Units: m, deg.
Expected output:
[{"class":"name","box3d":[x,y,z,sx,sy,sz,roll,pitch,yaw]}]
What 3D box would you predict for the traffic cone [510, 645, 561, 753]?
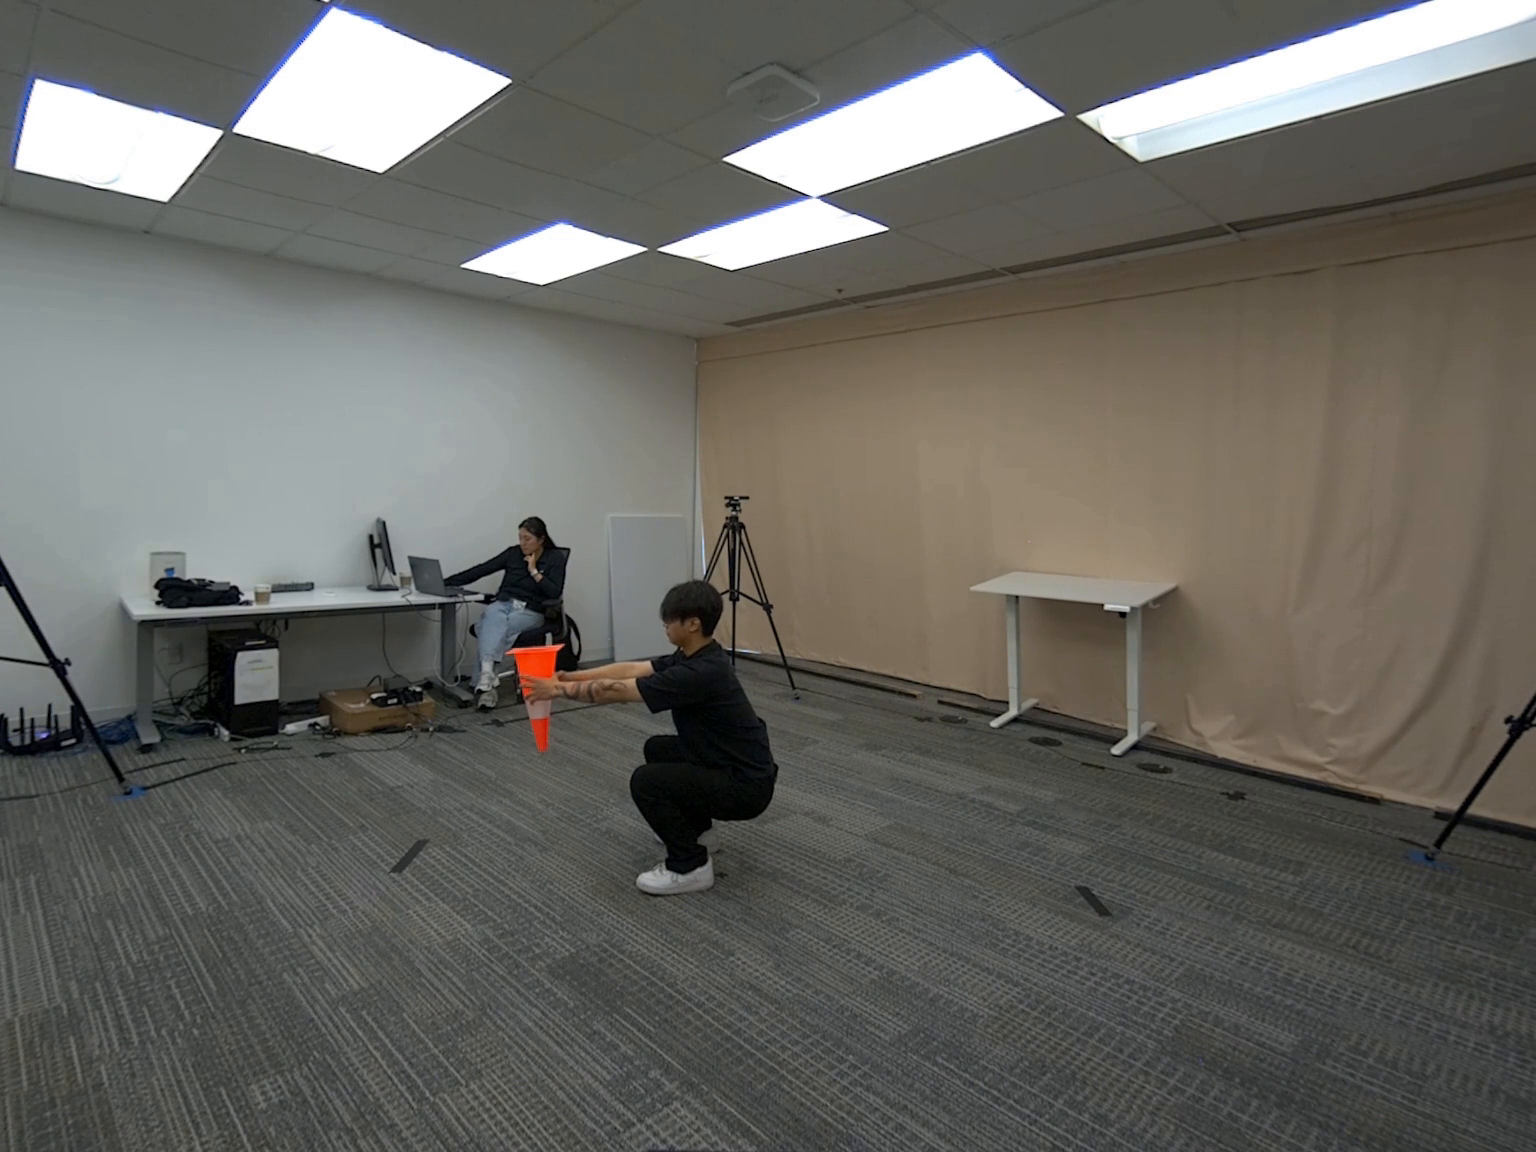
[{"class":"traffic cone","box3d":[-0.867,0.468,3.172,0.202,0.384,0.206,-5,-1,-6]}]
